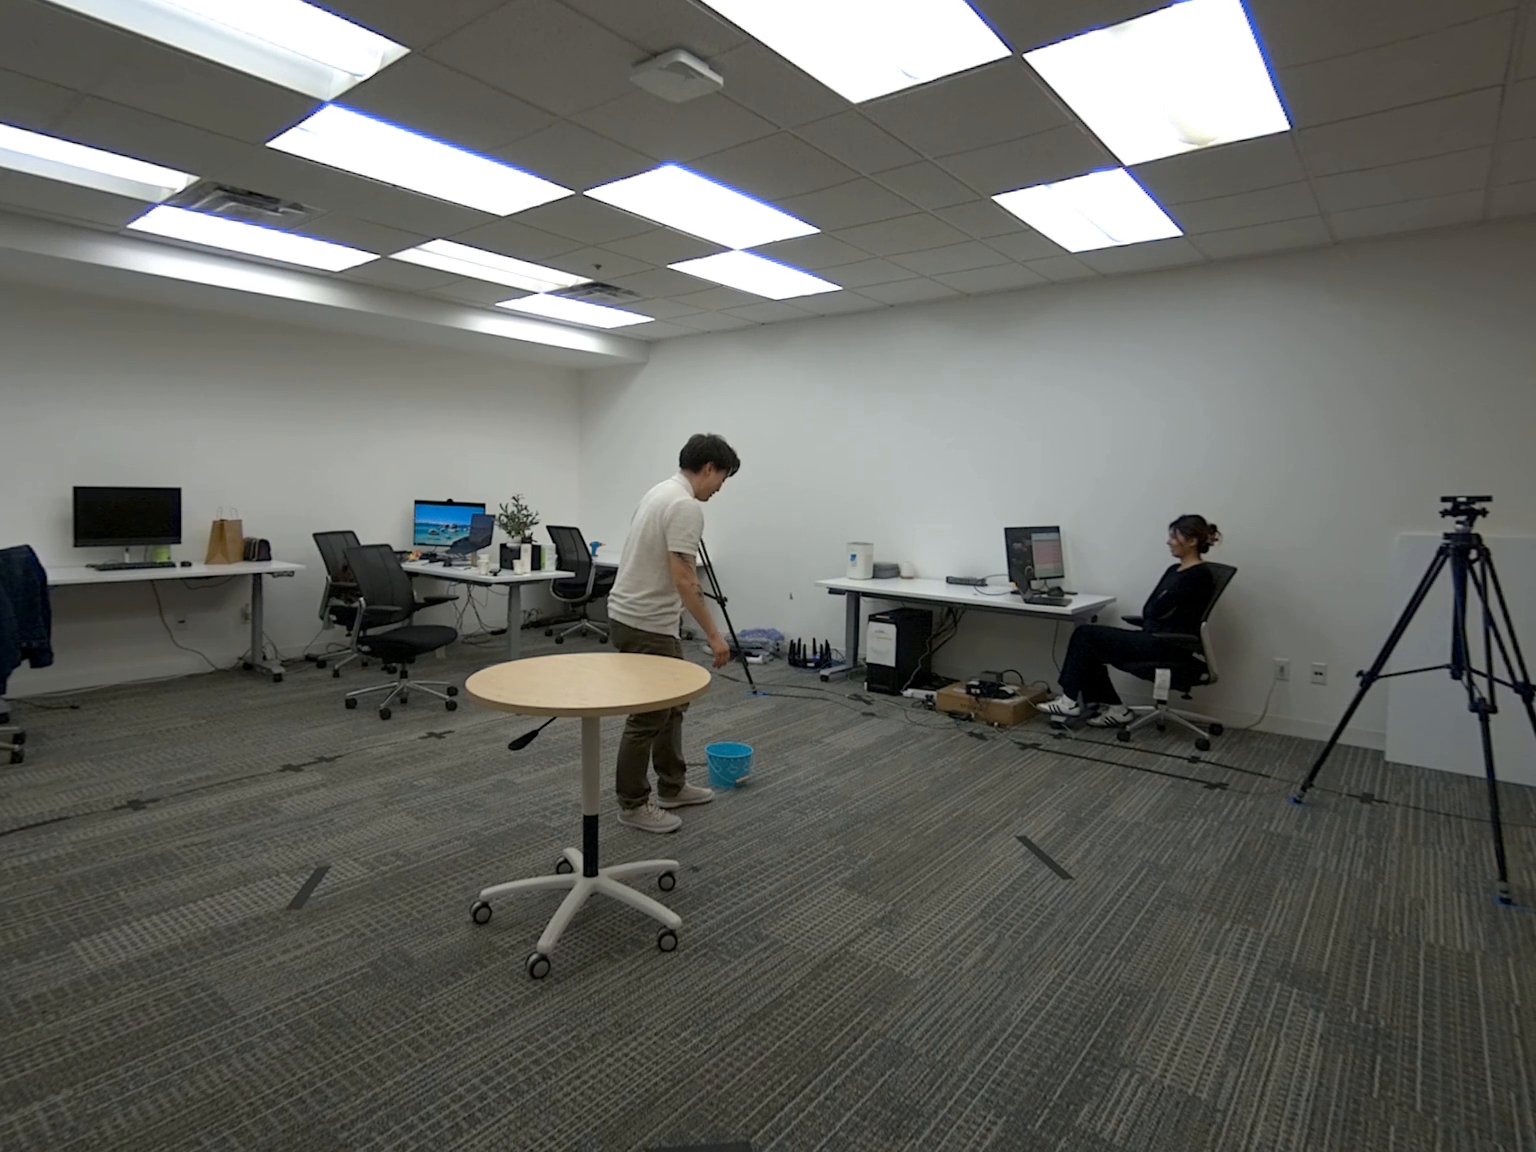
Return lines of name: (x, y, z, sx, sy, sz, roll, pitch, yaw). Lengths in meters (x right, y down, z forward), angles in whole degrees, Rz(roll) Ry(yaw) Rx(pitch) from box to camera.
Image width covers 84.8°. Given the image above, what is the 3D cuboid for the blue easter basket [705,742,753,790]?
blue easter basket: (-0.198, 0.899, 4.051, 0.243, 0.155, 0.245, 0, 6, -2)
